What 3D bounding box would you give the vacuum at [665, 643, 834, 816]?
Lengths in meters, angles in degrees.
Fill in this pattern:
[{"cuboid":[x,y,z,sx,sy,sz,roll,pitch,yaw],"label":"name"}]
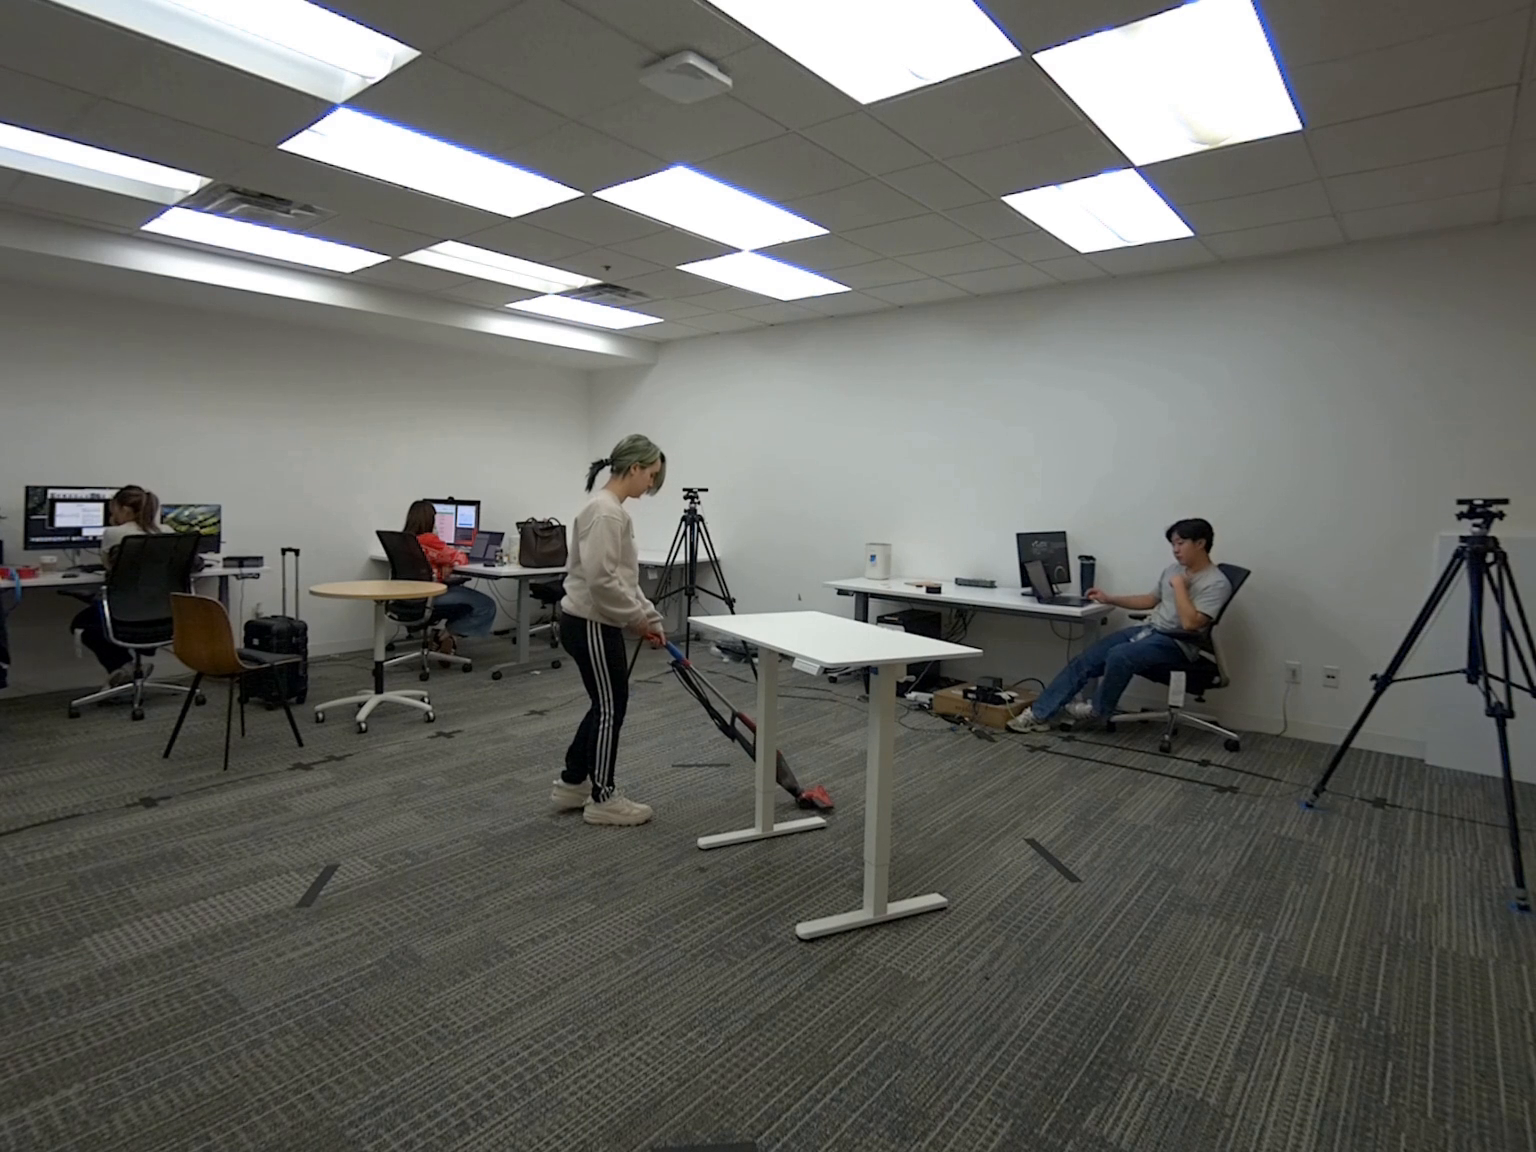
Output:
[{"cuboid":[-0.175,0.634,3.738,1.042,0.144,0.254,45,-4,-5],"label":"vacuum"}]
